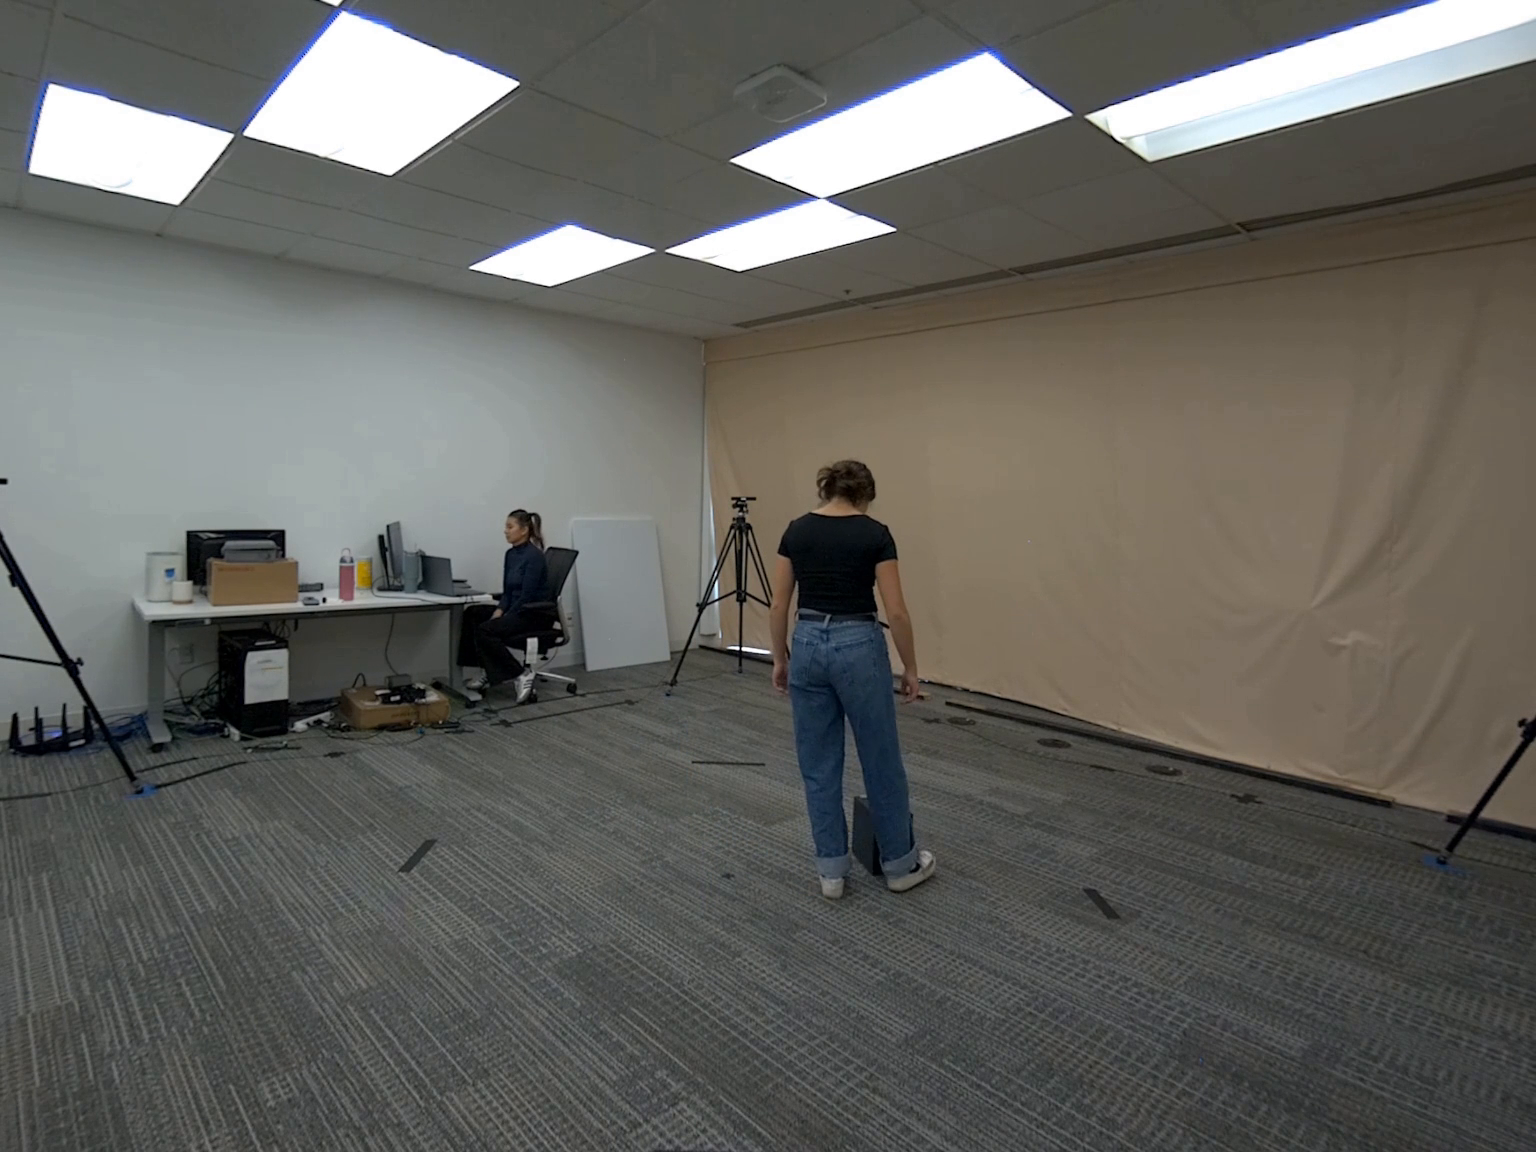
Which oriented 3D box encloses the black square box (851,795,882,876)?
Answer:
[{"bbox_3d":[0.431,0.990,3.248,0.154,0.227,0.220,1,3,-16],"label":"black square box"}]
